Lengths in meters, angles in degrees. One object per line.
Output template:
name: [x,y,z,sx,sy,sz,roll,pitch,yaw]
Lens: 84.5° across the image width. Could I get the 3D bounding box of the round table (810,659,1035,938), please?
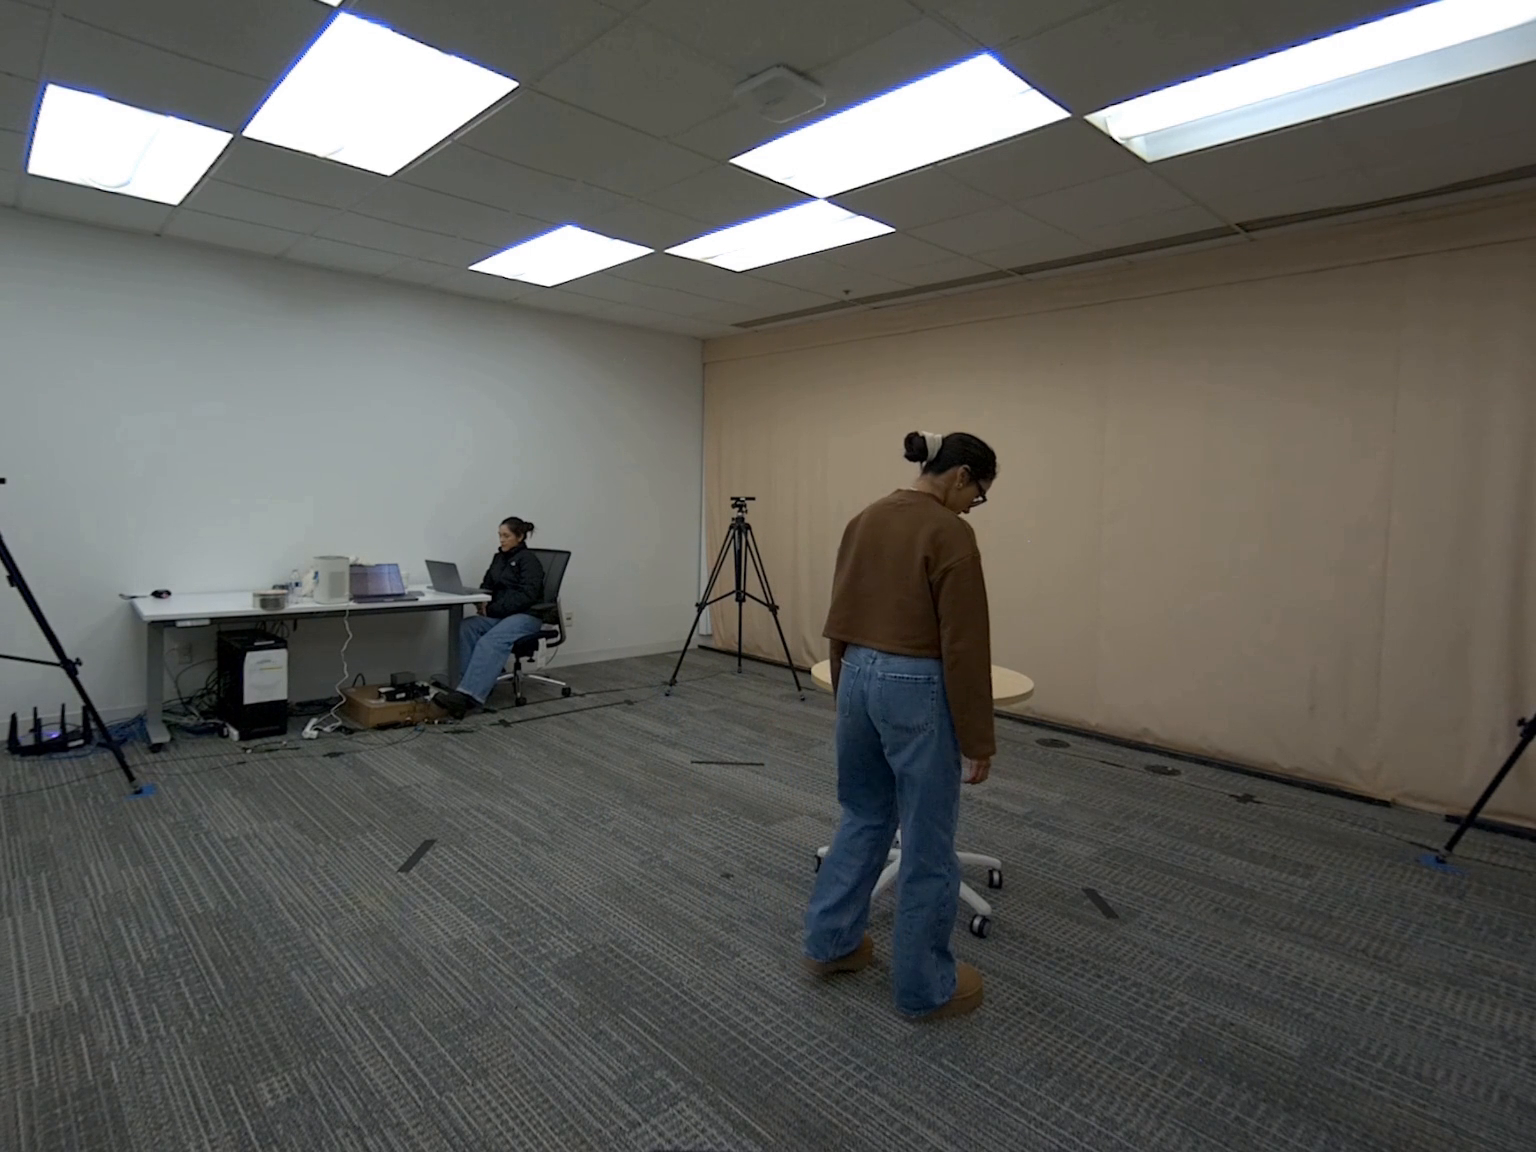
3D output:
round table: [0.517,0.745,2.996,0.763,0.792,0.767,1,4,-1]
